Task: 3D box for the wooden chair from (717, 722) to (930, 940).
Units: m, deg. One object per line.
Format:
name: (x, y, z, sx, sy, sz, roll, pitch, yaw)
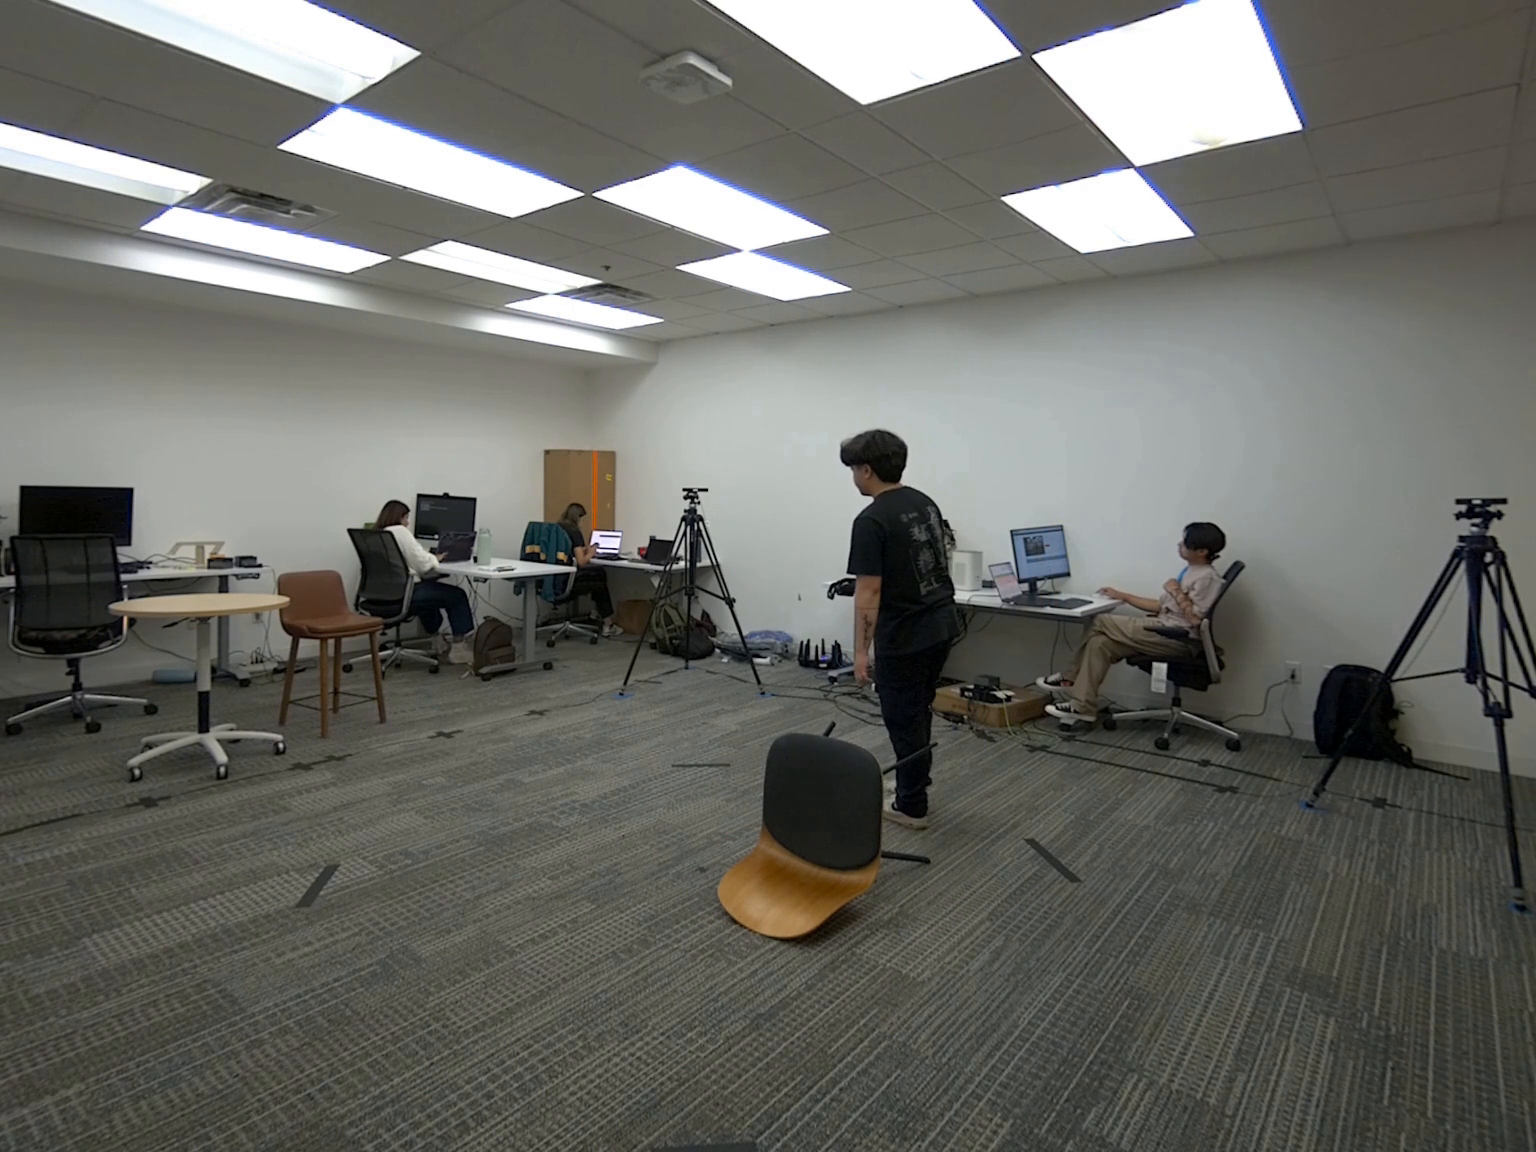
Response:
wooden chair: (0.196, 0.831, 3.002, 0.493, 0.521, 0.854, 4, 7, 34)
